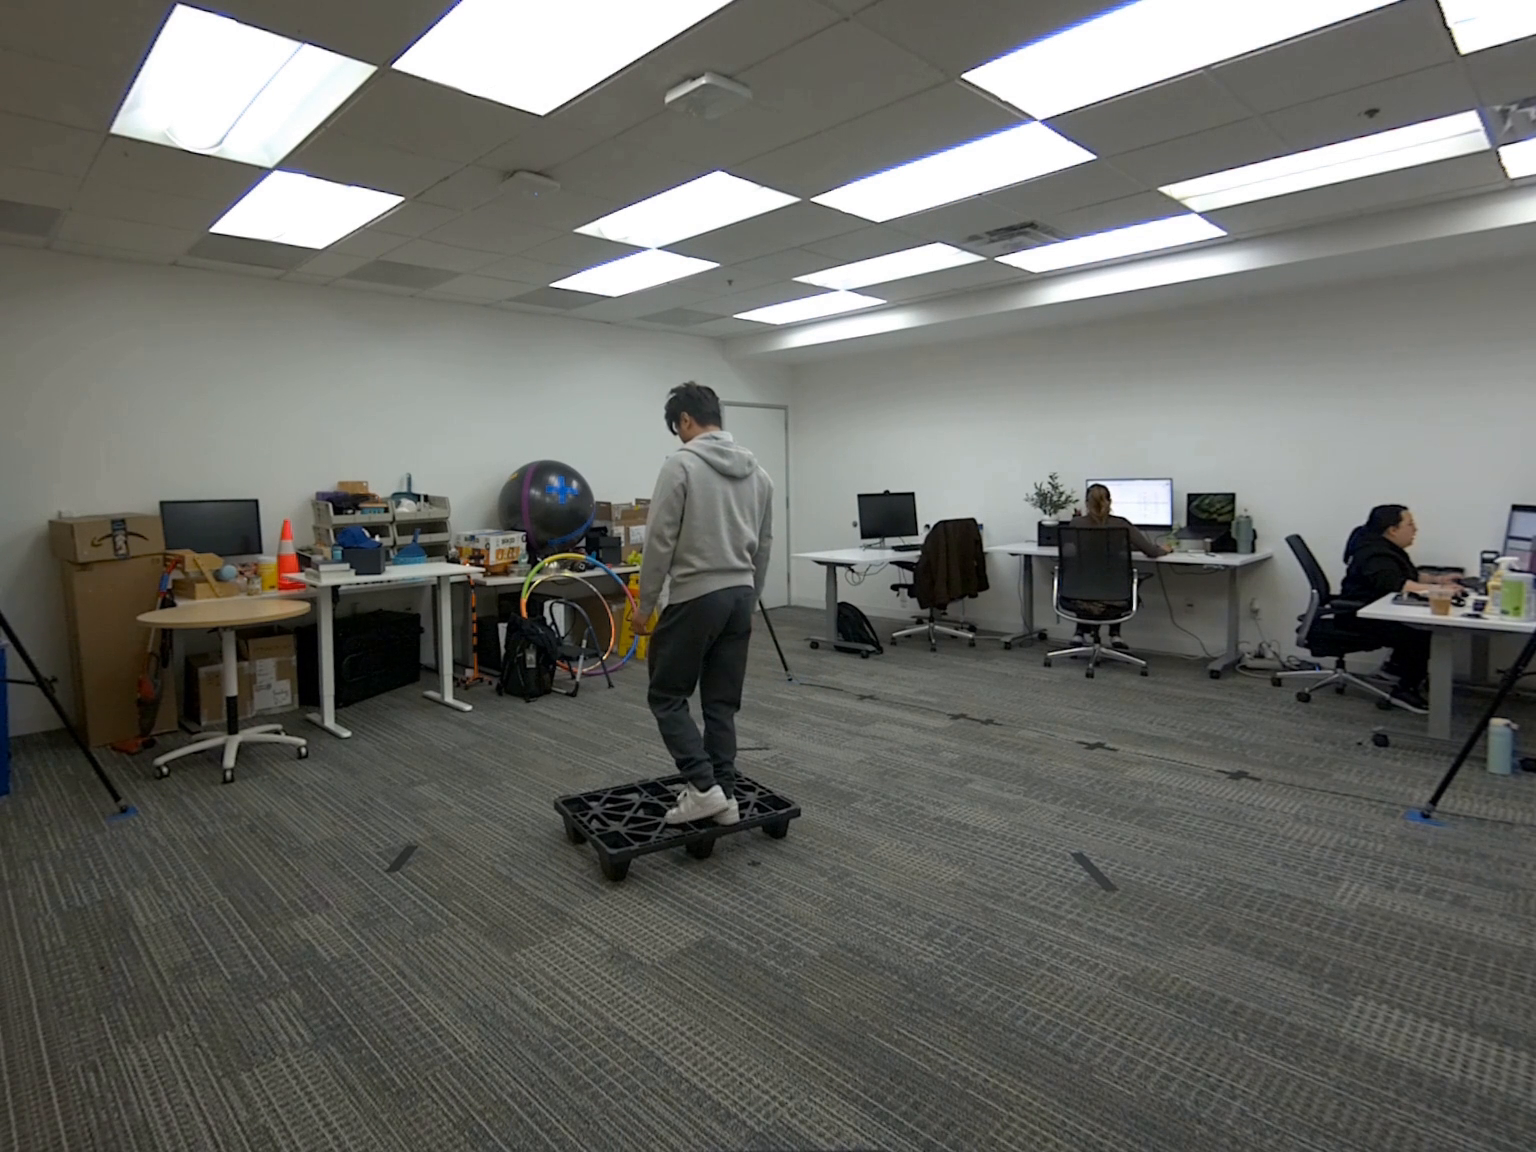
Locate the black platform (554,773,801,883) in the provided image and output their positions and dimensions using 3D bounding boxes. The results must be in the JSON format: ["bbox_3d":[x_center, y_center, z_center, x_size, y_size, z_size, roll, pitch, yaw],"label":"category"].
[{"bbox_3d":[-0.352,0.956,3.349,0.786,0.142,0.623,-5,8,-31],"label":"black platform"}]
